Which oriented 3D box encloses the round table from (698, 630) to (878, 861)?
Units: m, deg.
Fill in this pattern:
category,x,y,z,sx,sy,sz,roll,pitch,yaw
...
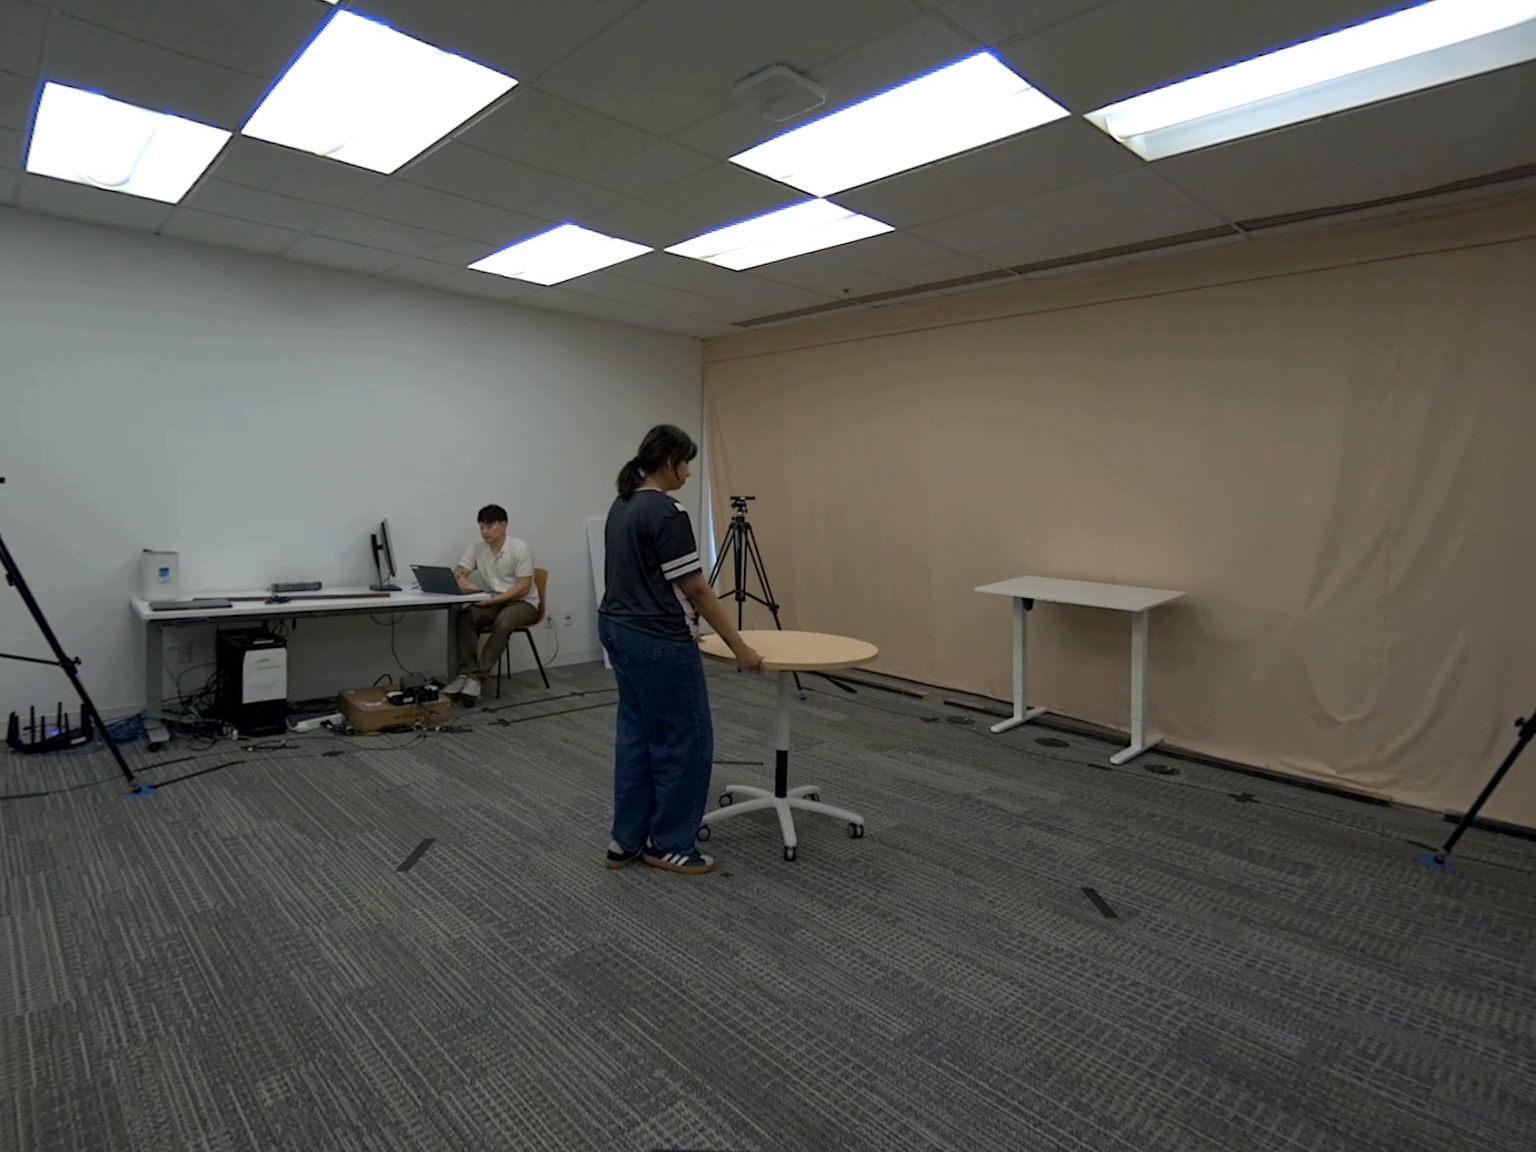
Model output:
category,x,y,z,sx,sy,sz,roll,pitch,yaw
round table,0.037,0.675,3.539,0.784,0.784,0.788,2,4,-2
